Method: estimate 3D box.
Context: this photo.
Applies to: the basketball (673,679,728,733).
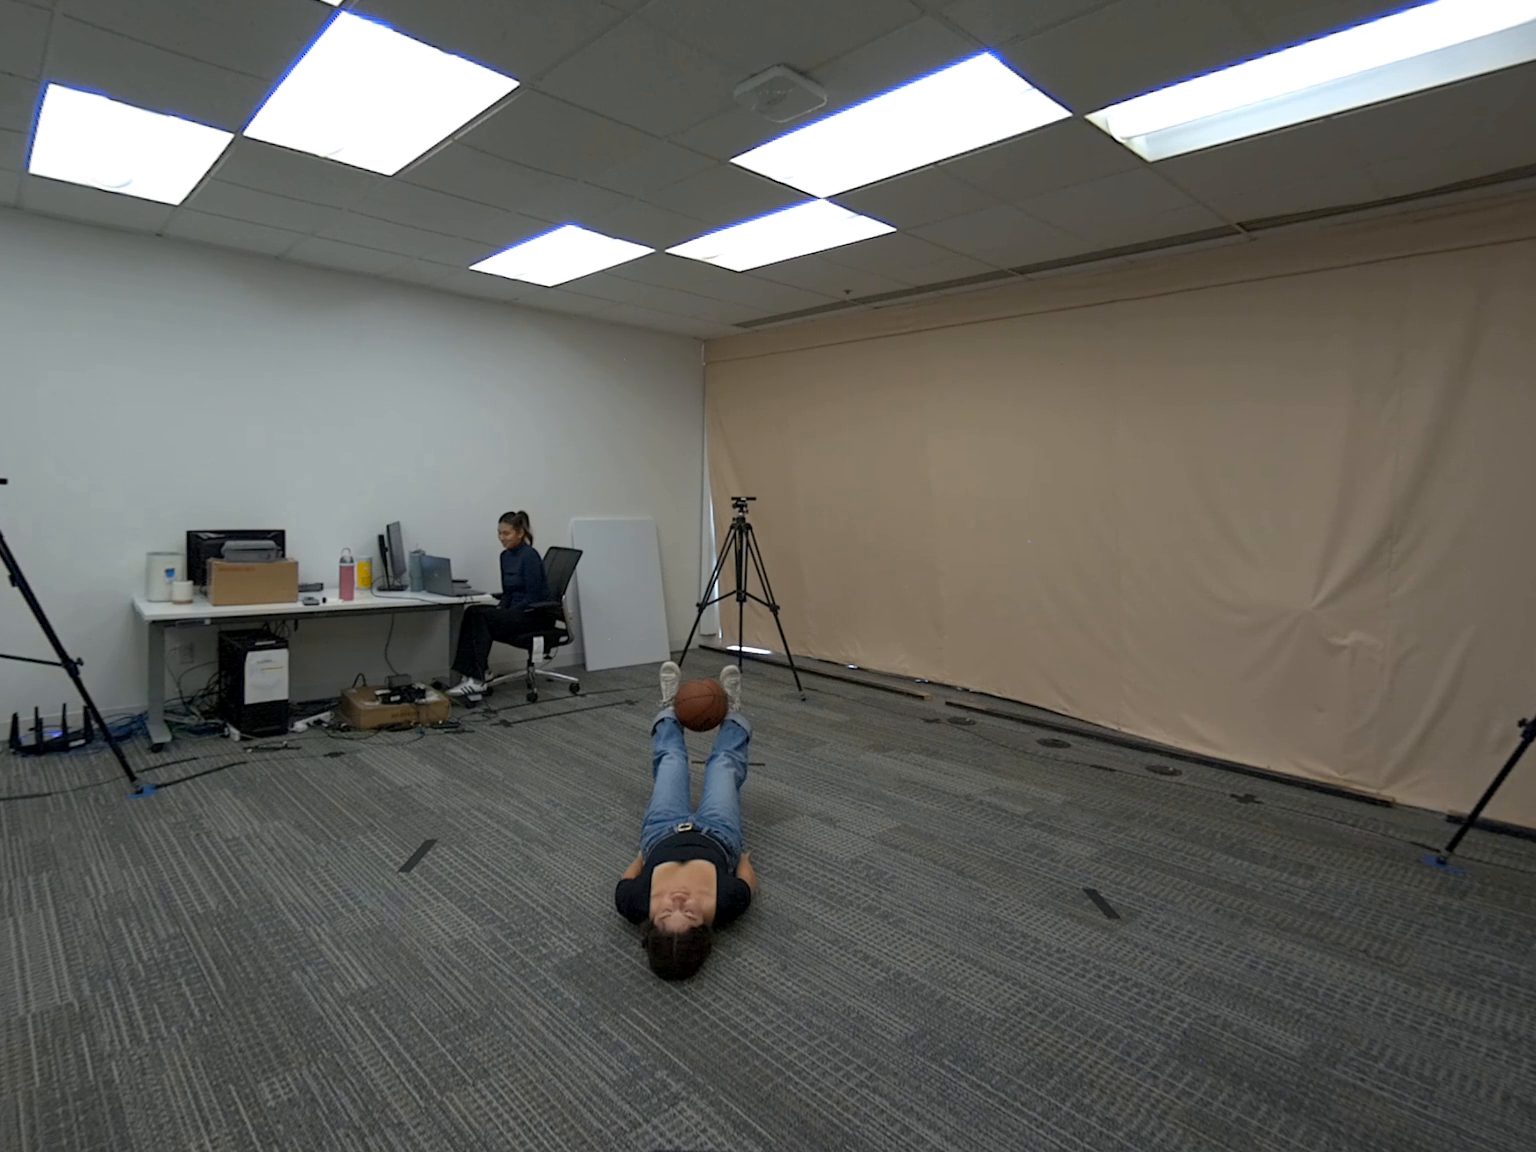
[{"bbox_3d":[-0.309,0.577,3.765,0.236,0.235,0.237,1,4,-1],"label":"basketball"}]
